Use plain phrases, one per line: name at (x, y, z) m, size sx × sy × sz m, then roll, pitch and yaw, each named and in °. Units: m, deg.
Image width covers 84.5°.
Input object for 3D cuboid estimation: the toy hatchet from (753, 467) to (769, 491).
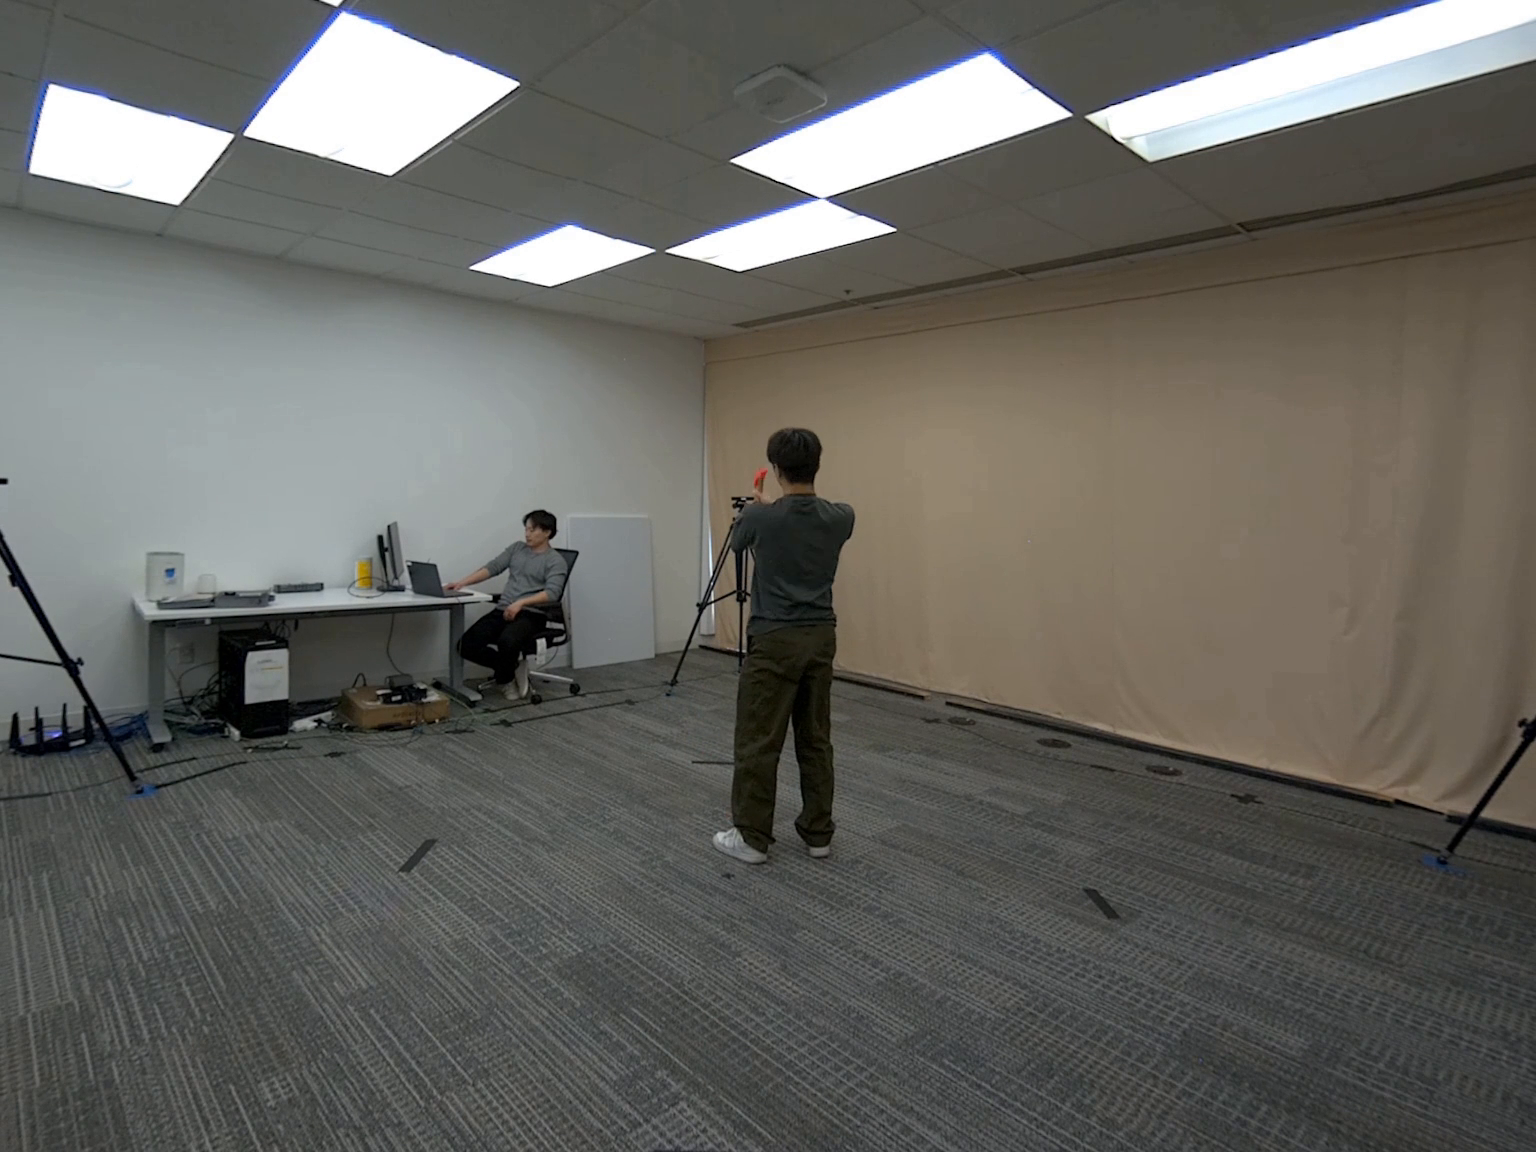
toy hatchet at (-0.049, -0.329, 3.772) m, size 0.029 × 0.269 × 0.134 m, roll 5°, pitch 5°, yaw -24°
